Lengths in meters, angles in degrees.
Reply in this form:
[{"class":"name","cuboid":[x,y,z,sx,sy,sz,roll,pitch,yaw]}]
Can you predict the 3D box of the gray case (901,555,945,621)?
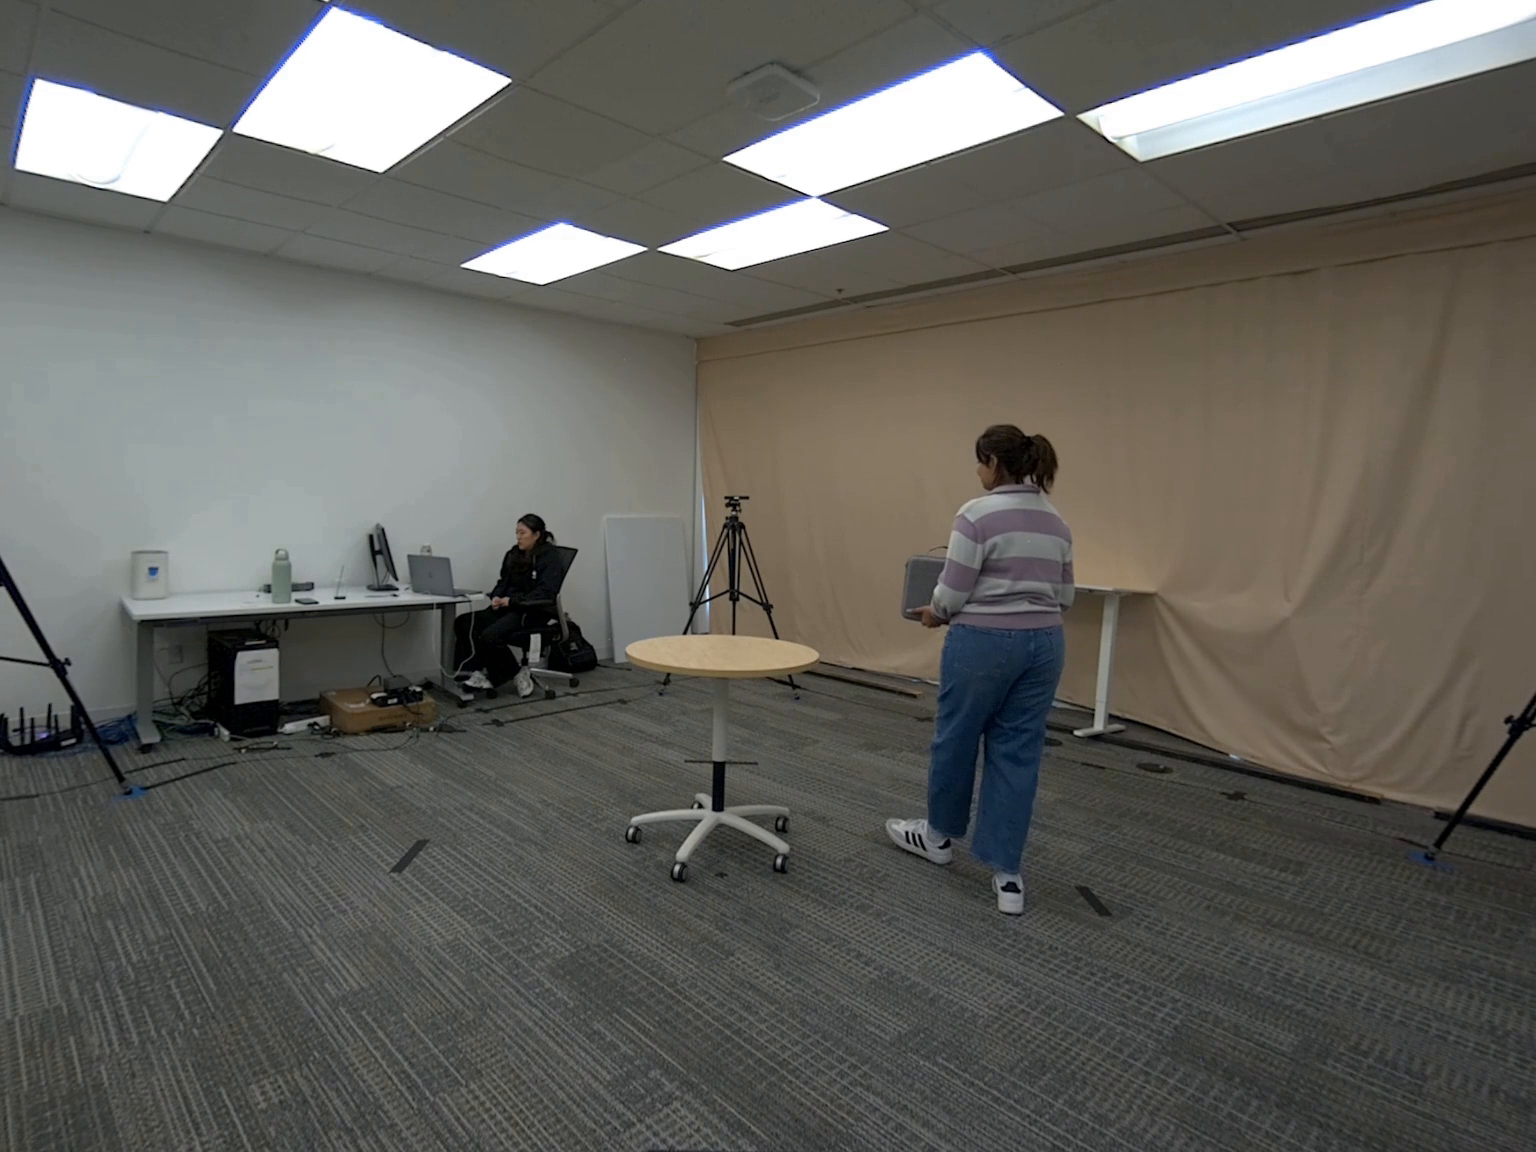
[{"class":"gray case","cuboid":[0.651,0.050,3.271,0.259,0.259,0.104,8,8,11]}]
